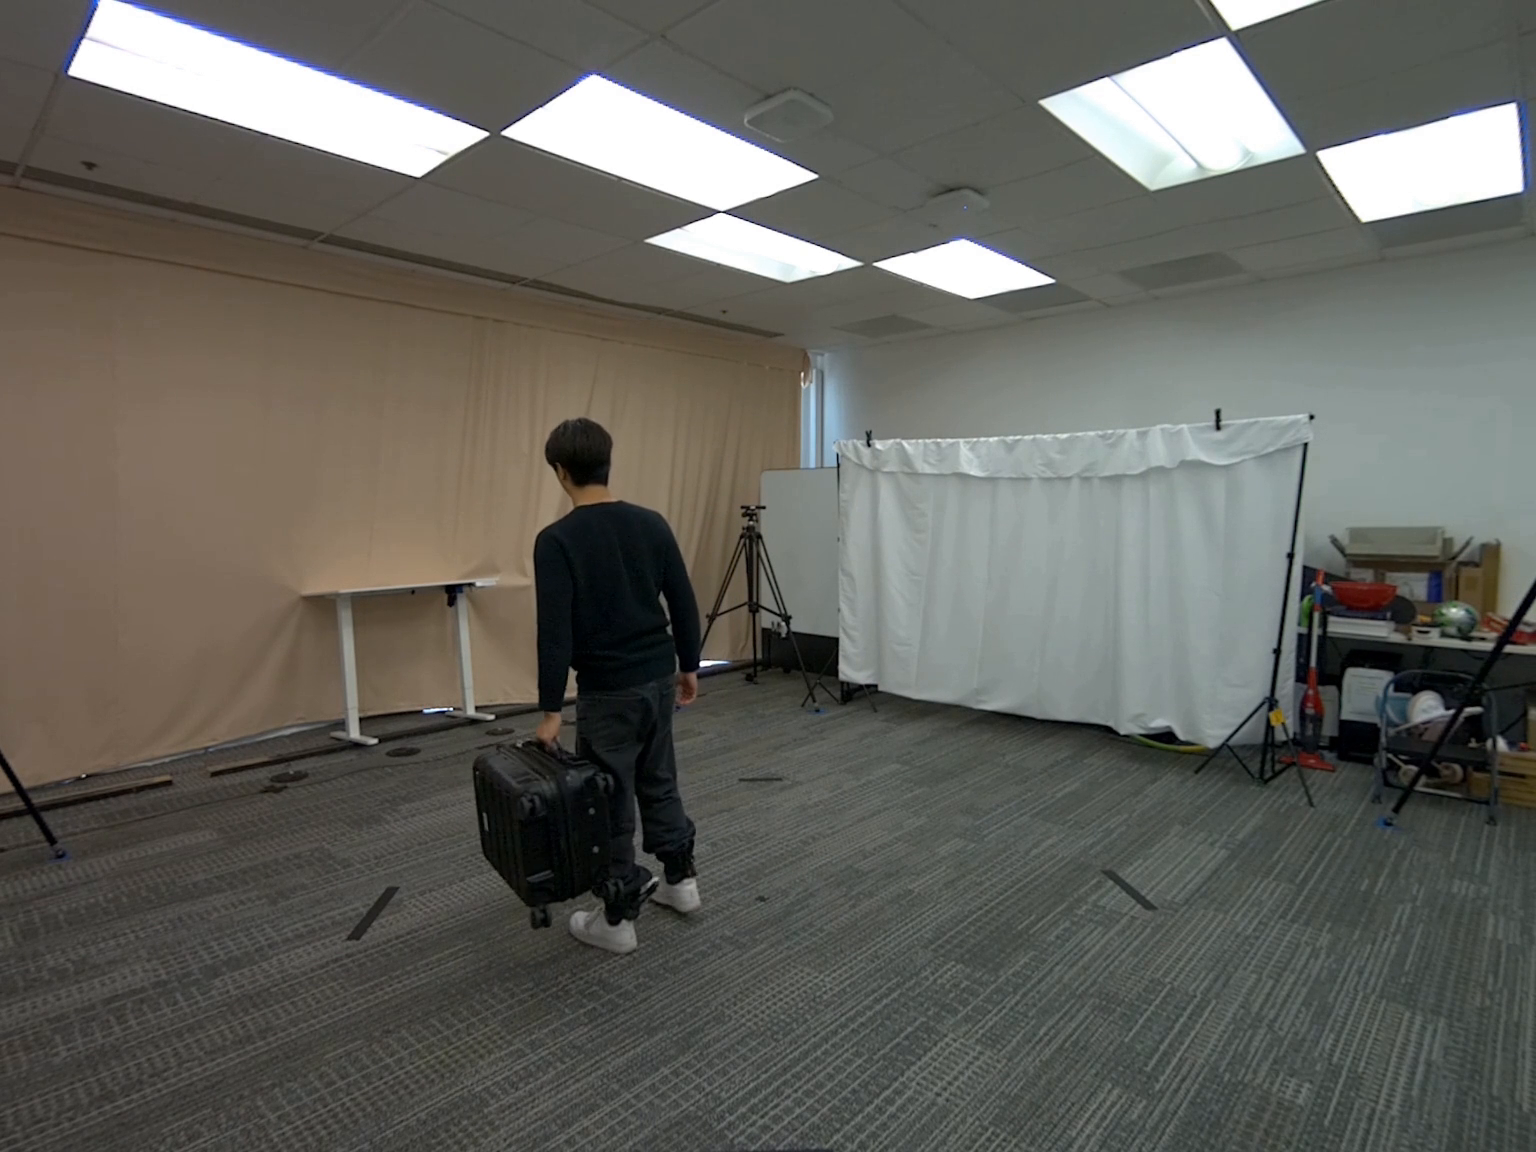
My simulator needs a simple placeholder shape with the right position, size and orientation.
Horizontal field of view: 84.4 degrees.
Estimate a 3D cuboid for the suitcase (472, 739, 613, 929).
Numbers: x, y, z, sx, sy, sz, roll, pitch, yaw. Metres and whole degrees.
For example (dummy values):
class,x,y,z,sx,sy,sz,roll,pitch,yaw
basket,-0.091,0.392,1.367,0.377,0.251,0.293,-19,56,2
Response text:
class,x,y,z,sx,sy,sz,roll,pitch,yaw
suitcase,-0.775,0.695,2.619,0.250,0.383,1.008,-6,5,-34
